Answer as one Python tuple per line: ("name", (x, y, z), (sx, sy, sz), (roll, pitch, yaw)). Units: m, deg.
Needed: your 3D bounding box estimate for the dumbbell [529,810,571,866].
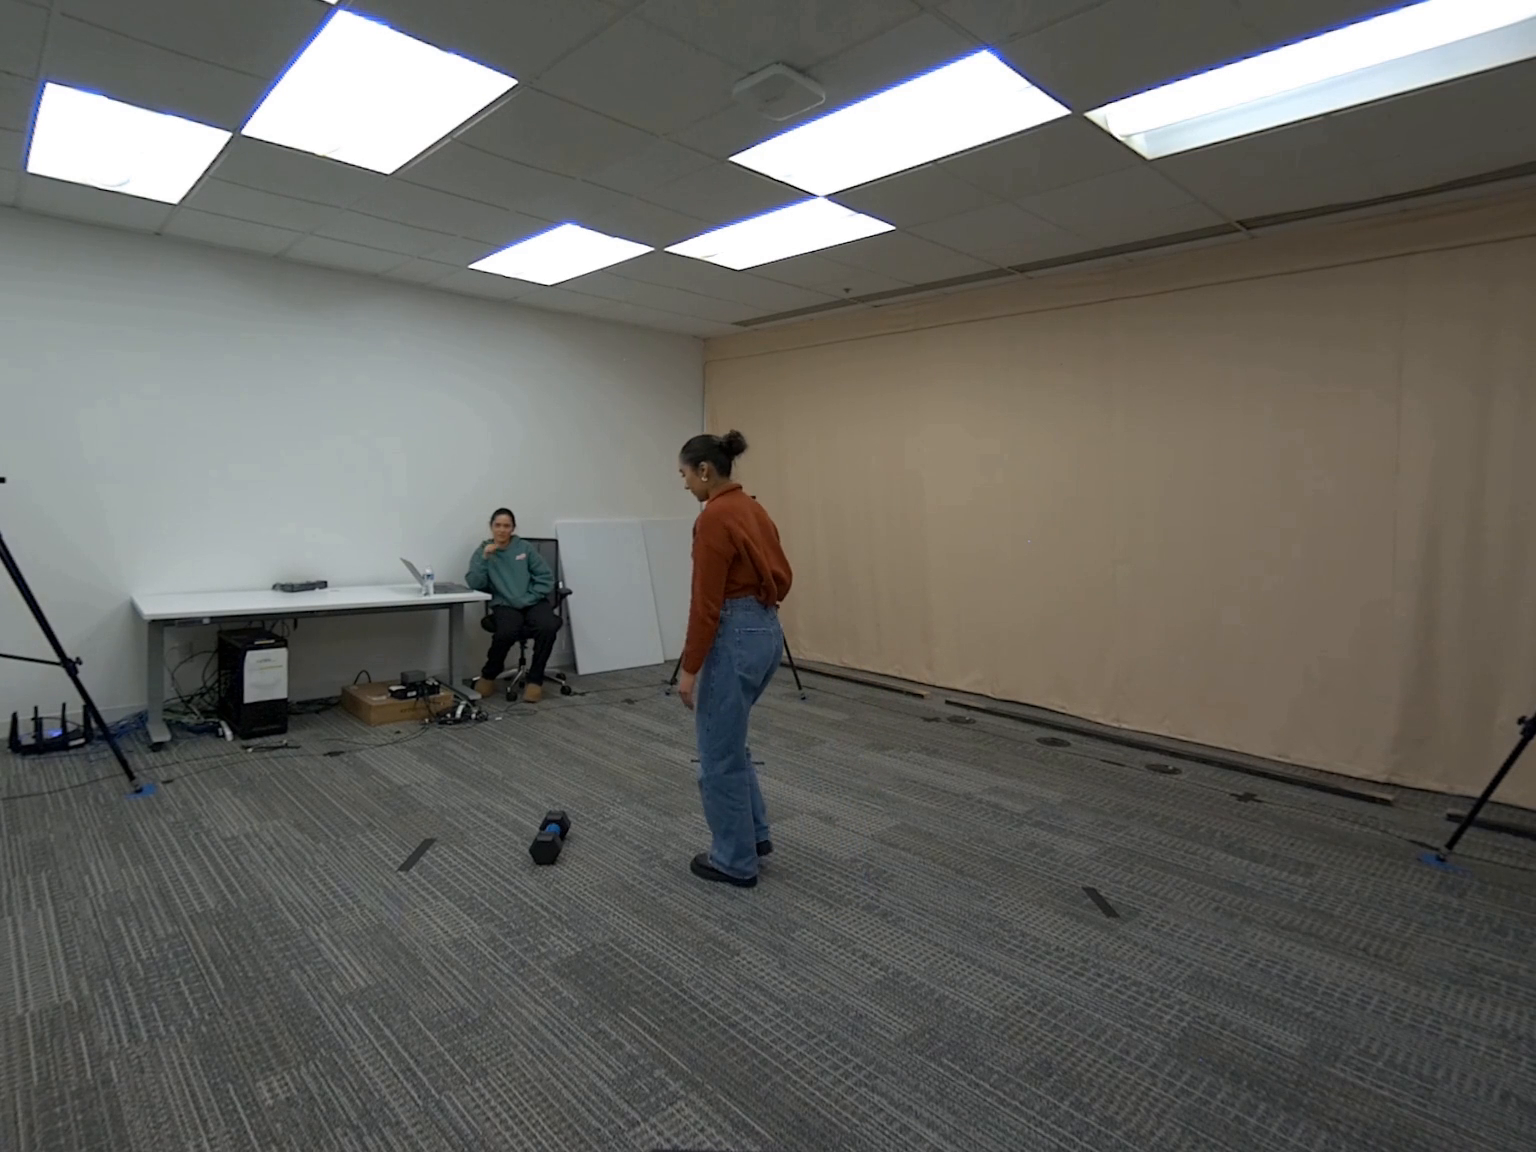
("dumbbell", (-0.847, 1.012, 3.285), (0.108, 0.123, 0.295), (32, 2, -6))
